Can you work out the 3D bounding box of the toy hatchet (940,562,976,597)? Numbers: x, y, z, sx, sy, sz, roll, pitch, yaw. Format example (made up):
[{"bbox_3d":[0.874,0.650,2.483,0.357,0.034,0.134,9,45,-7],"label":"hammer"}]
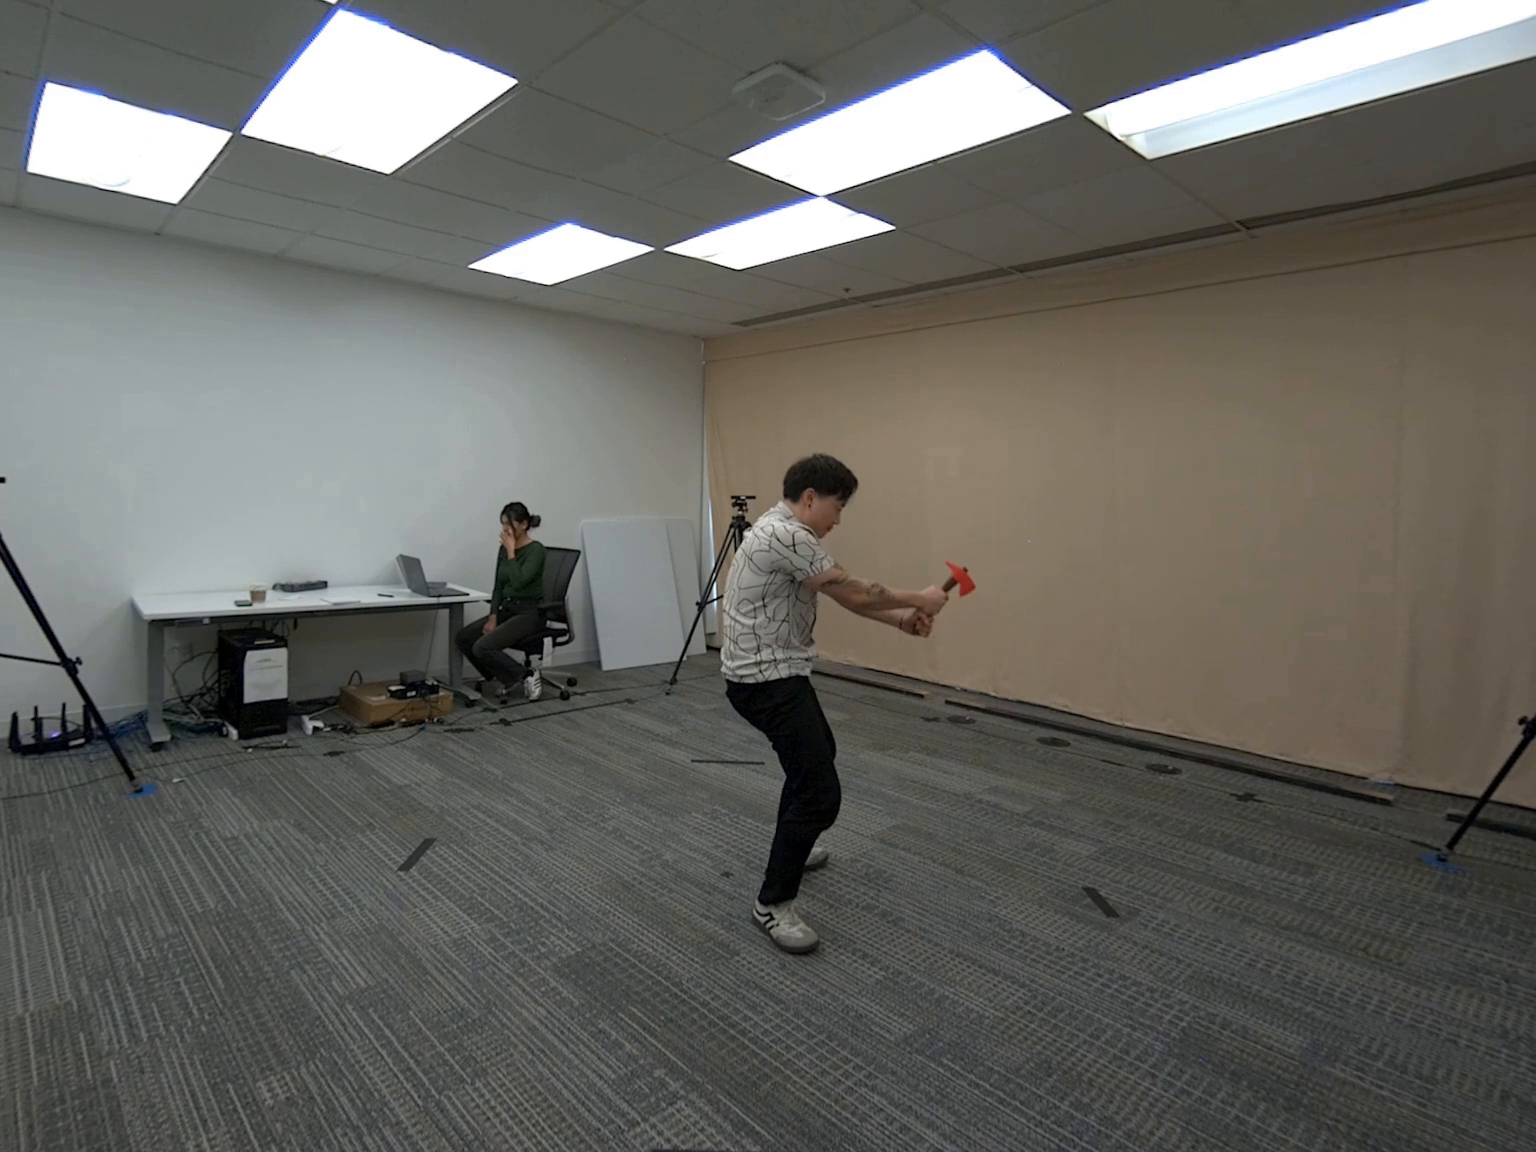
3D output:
[{"bbox_3d":[0.579,0.106,2.789,0.131,0.269,0.030,20,8,-3],"label":"toy hatchet"}]
